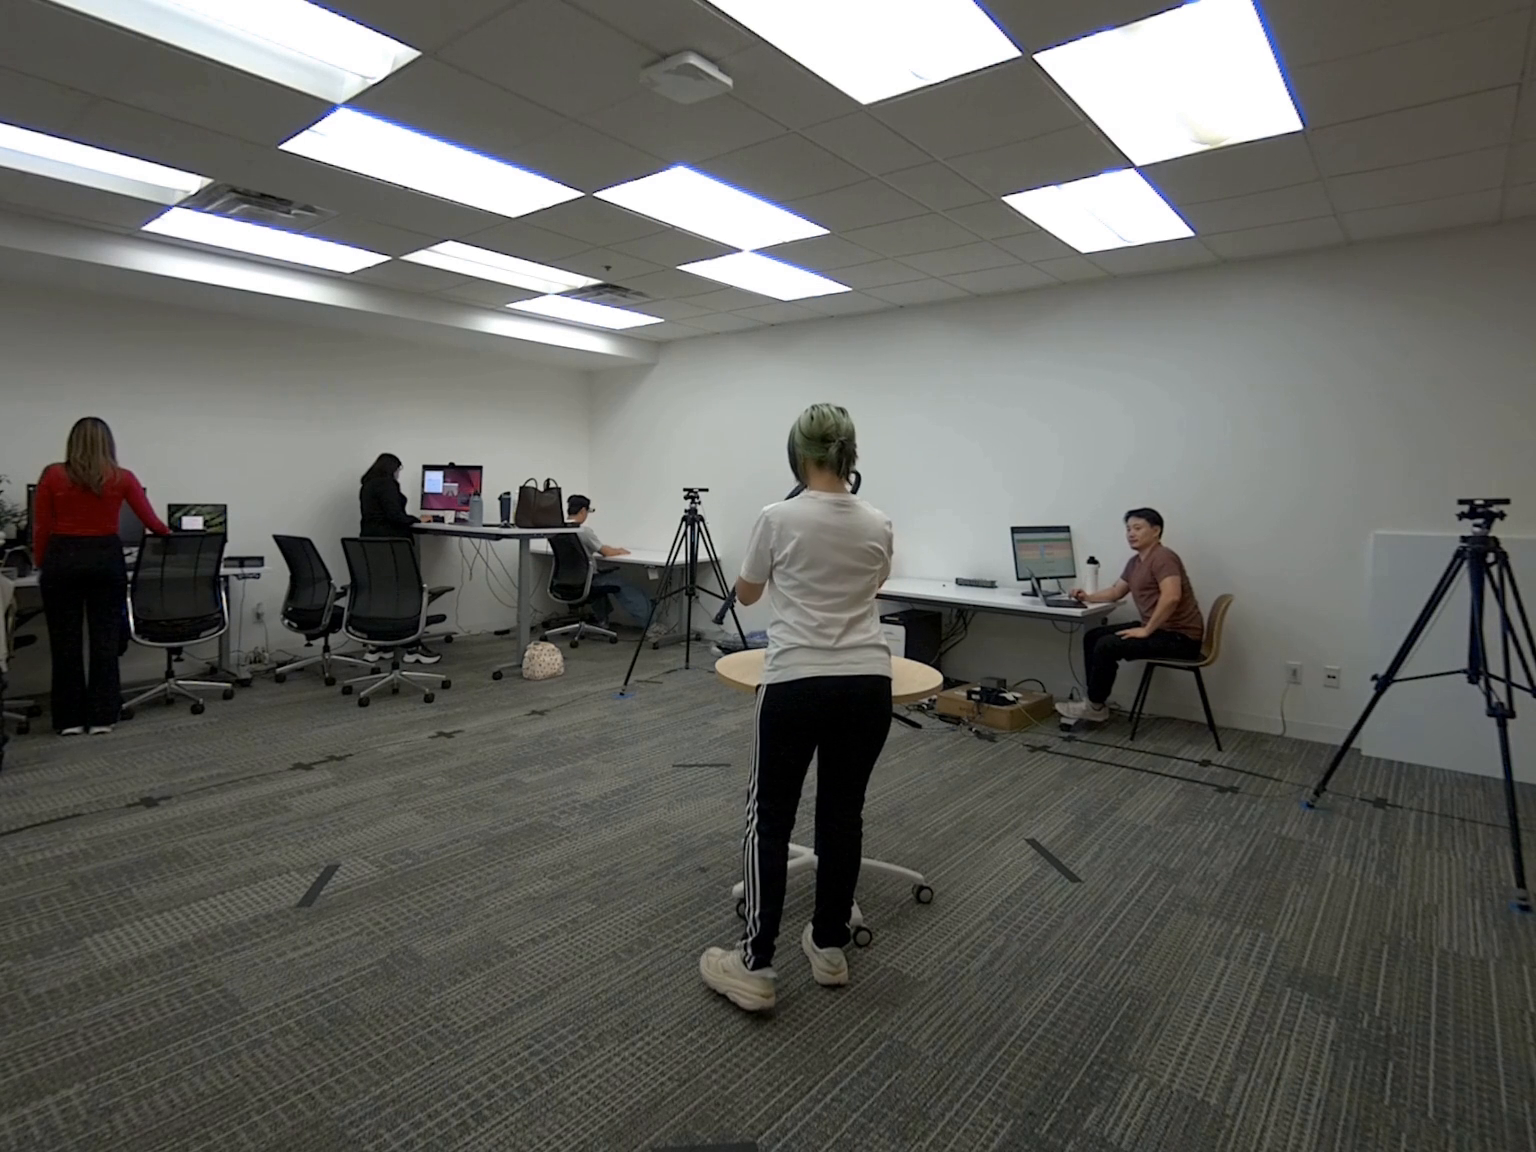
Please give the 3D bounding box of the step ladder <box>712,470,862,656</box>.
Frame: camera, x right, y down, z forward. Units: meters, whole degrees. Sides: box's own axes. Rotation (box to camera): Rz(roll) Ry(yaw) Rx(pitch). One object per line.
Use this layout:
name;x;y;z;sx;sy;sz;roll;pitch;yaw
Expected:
step ladder;0.095;-0.092;2.908;0.363;0.597;0.420;23;24;35
